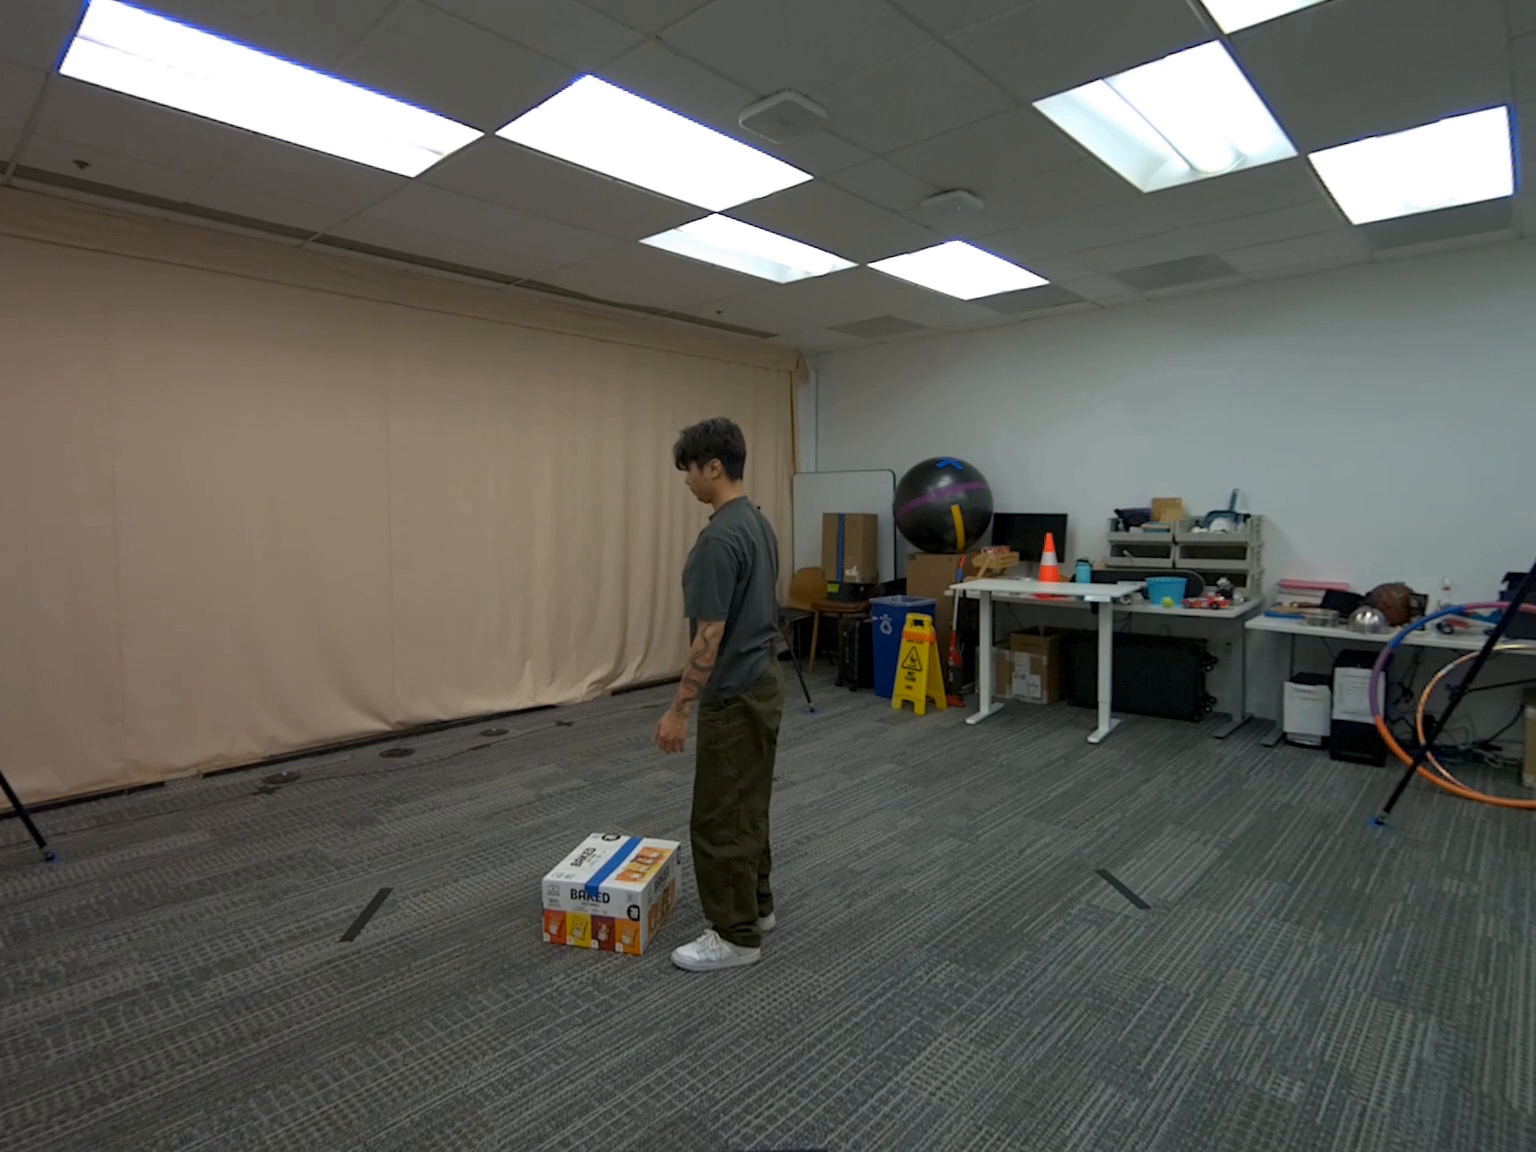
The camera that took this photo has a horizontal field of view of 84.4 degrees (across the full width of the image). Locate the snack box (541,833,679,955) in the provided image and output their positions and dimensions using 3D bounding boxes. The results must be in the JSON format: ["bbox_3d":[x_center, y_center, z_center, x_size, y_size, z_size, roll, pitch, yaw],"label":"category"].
[{"bbox_3d":[-0.519,1.063,2.834,0.346,0.205,0.400,1,5,14],"label":"snack box"}]
